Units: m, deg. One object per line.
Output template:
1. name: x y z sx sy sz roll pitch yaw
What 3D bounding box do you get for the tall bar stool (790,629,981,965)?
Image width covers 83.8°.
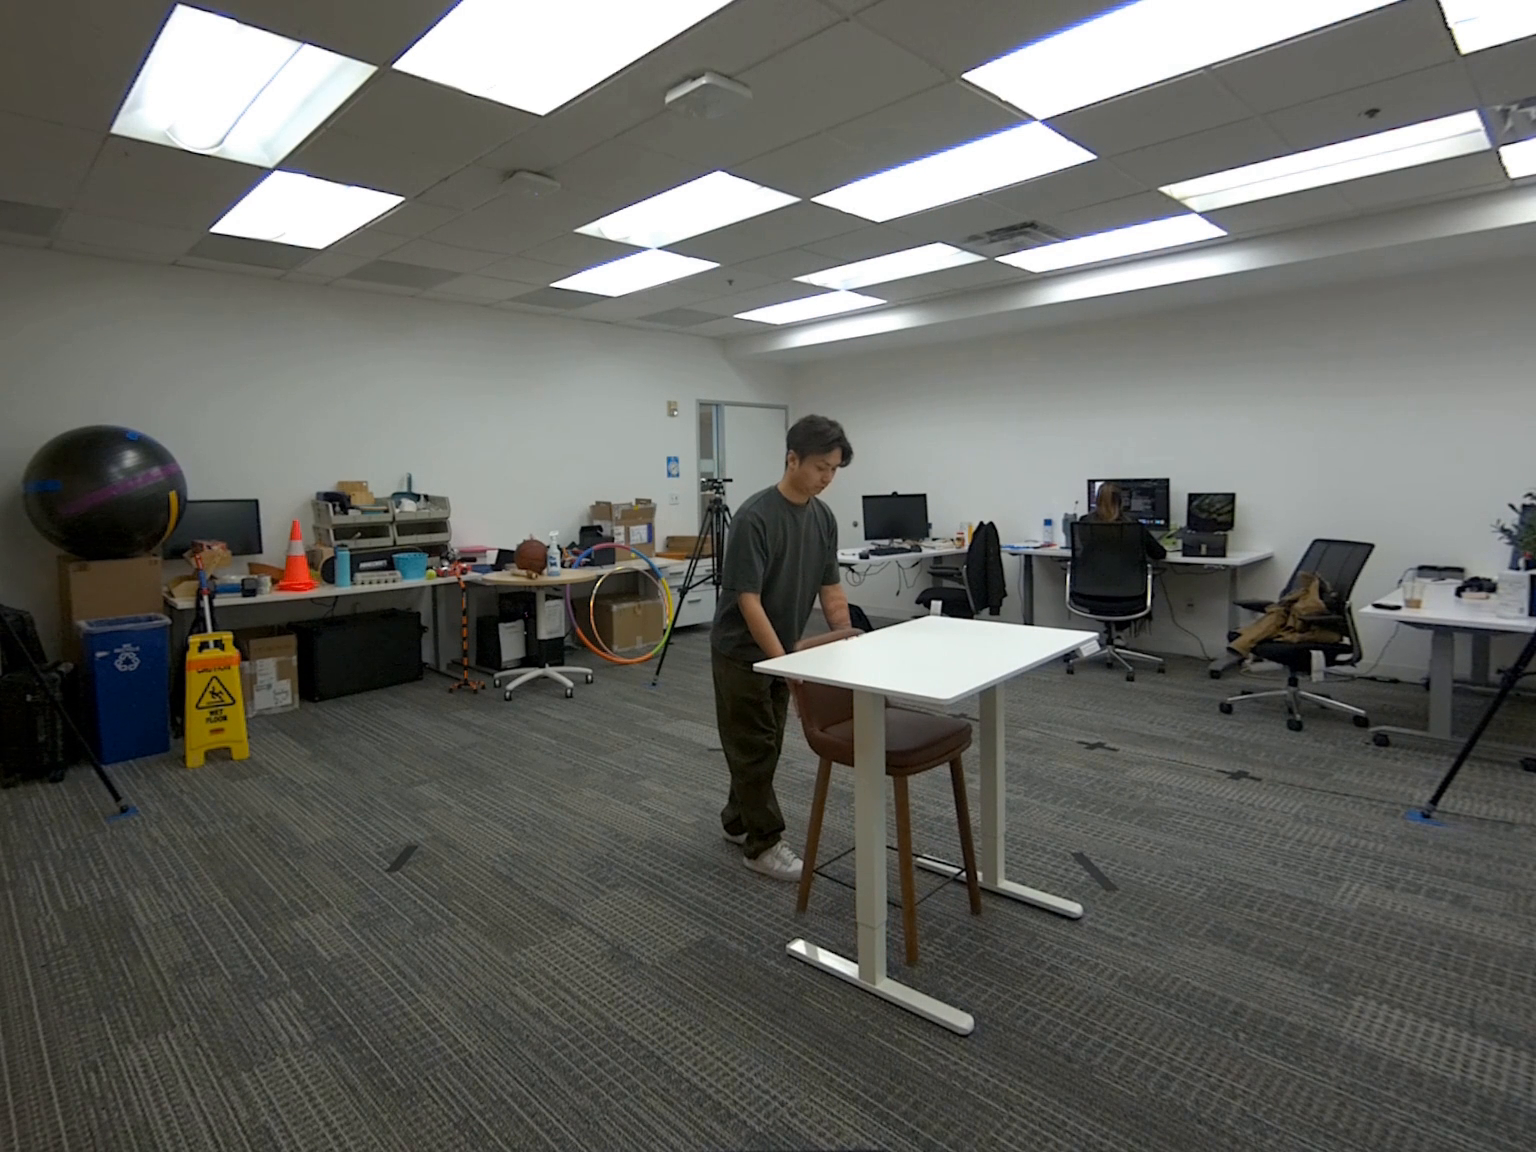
1. tall bar stool: 0.368 0.643 2.711 0.481 0.888 0.445 -1 3 43
